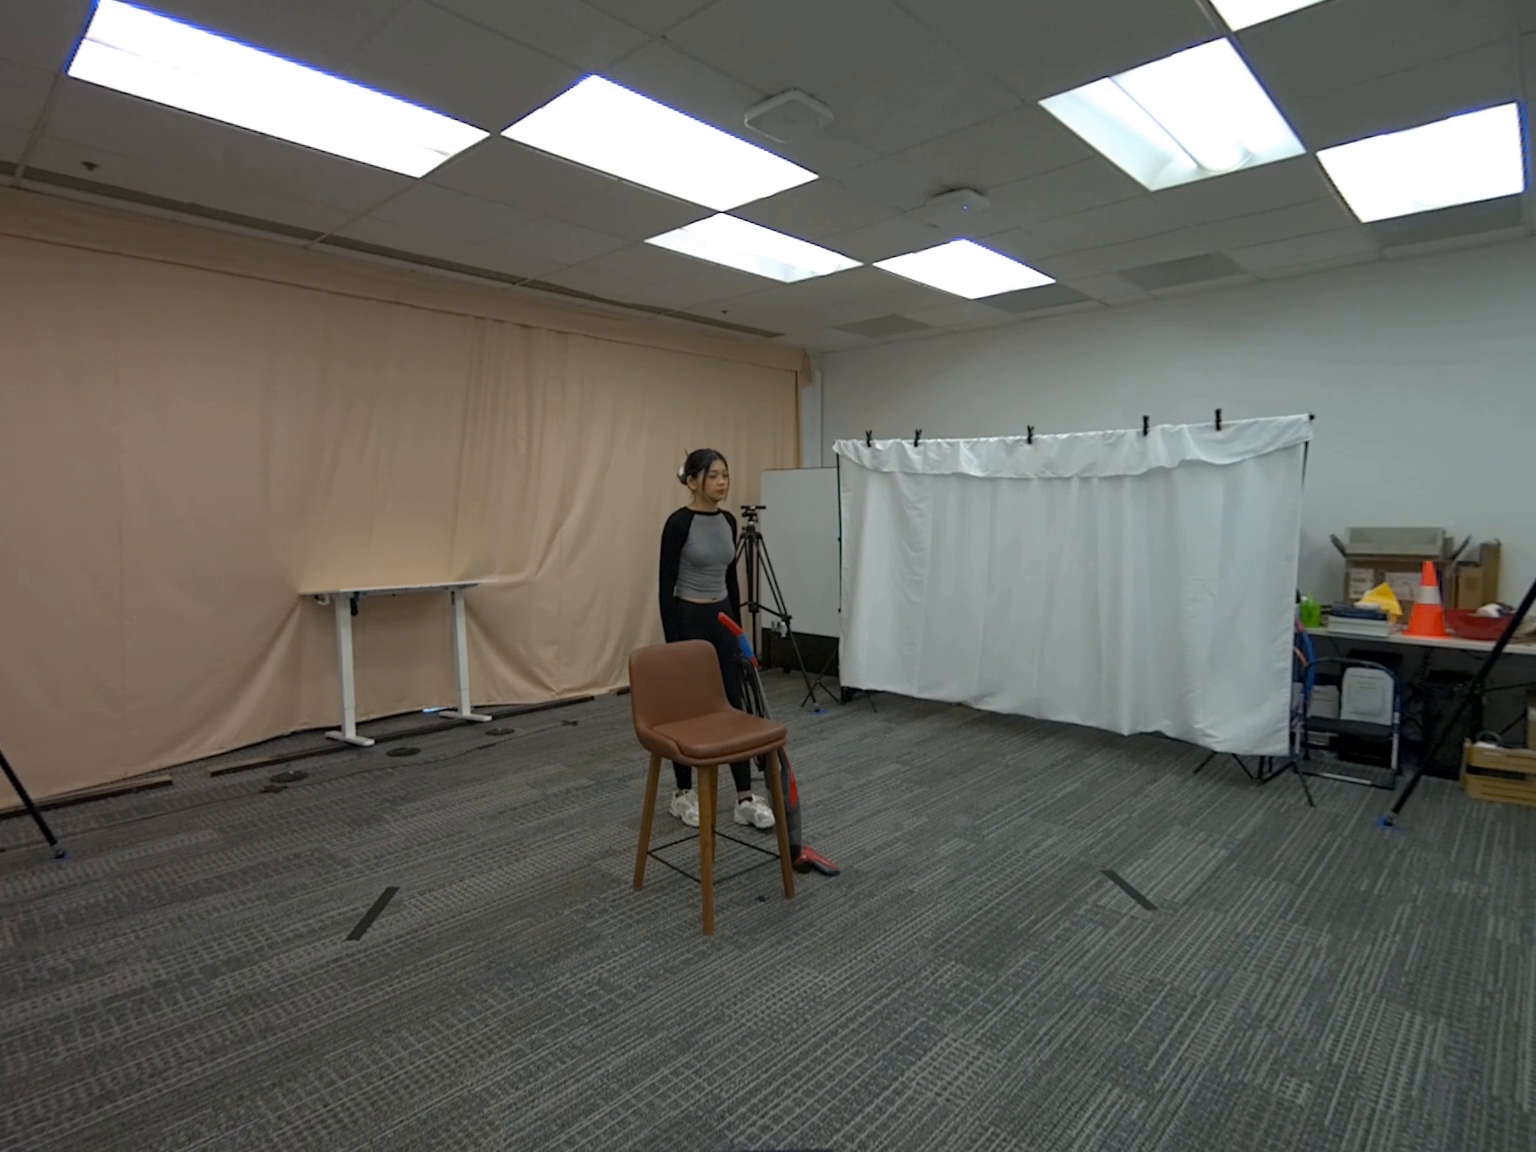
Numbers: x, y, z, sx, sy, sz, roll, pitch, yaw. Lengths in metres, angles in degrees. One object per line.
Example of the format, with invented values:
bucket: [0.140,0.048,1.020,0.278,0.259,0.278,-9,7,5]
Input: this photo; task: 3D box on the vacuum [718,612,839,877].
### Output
vacuum: [-0.001,0.627,3.169,0.141,1.039,0.259,-23,11,-25]
